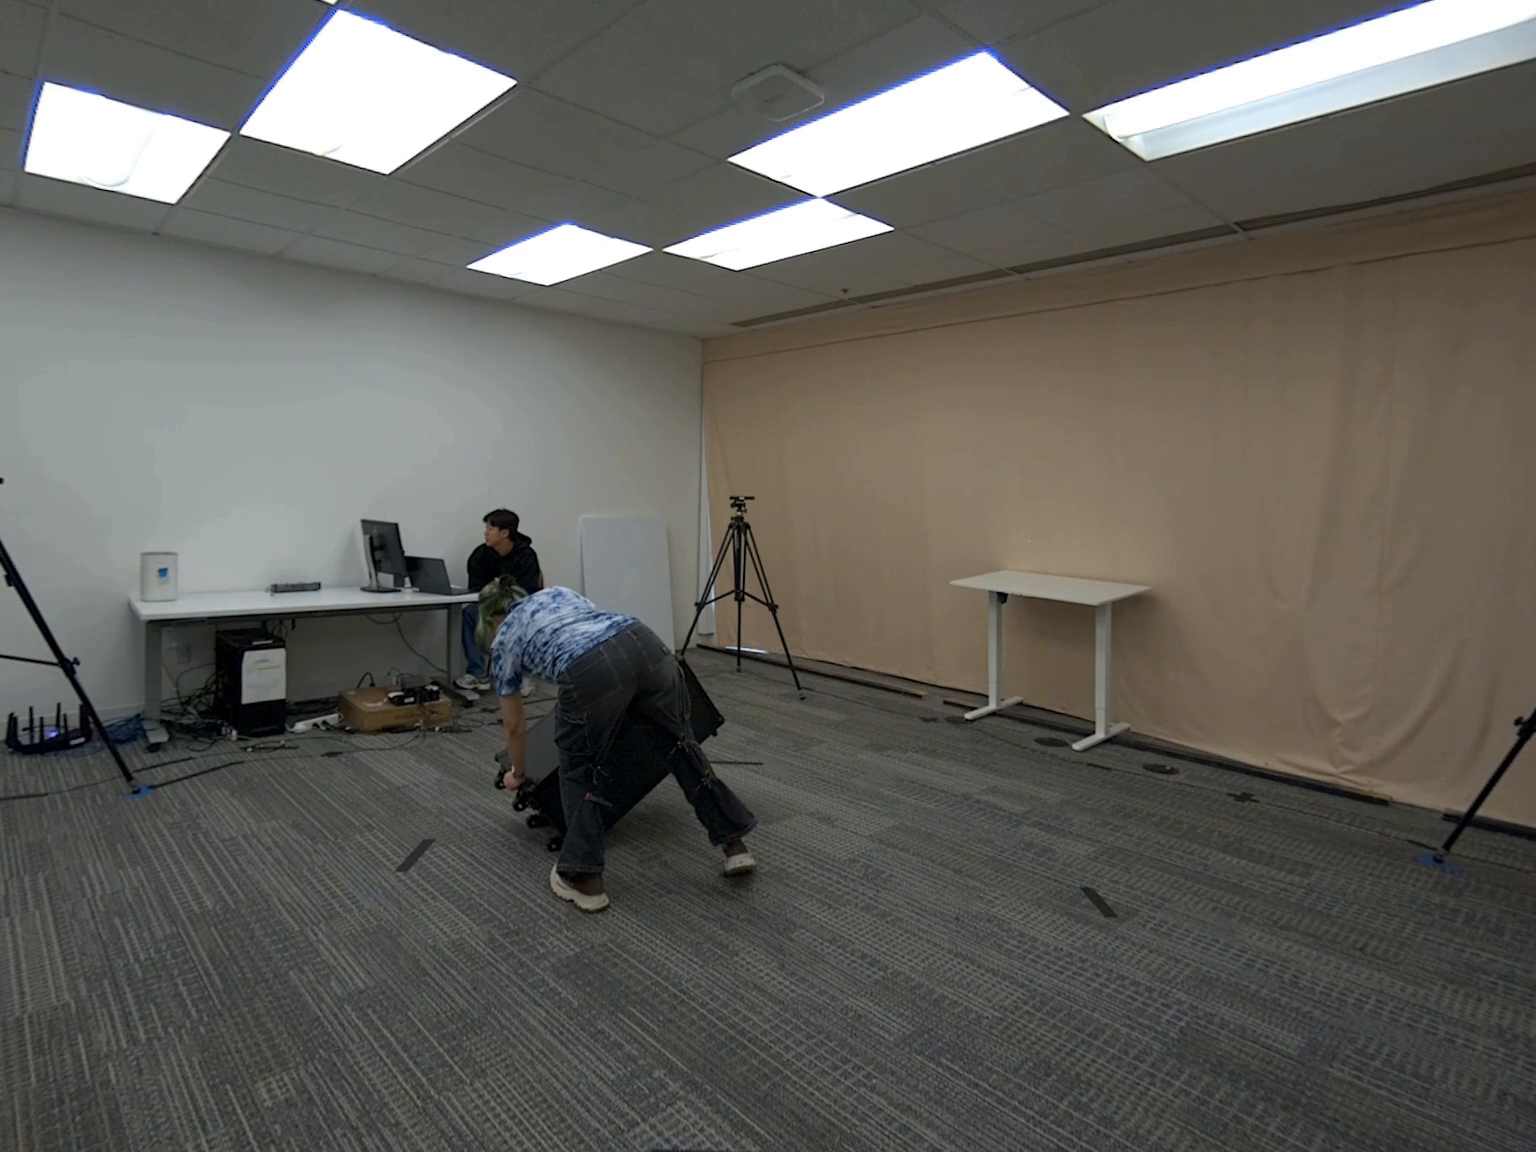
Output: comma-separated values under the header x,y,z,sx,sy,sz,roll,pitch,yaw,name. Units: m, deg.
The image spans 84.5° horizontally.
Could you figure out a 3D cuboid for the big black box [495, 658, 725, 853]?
x,y,z,sx,sy,sz,roll,pitch,yaw,name
-0.637,0.677,3.530,0.859,0.388,0.533,-42,24,-21,big black box
